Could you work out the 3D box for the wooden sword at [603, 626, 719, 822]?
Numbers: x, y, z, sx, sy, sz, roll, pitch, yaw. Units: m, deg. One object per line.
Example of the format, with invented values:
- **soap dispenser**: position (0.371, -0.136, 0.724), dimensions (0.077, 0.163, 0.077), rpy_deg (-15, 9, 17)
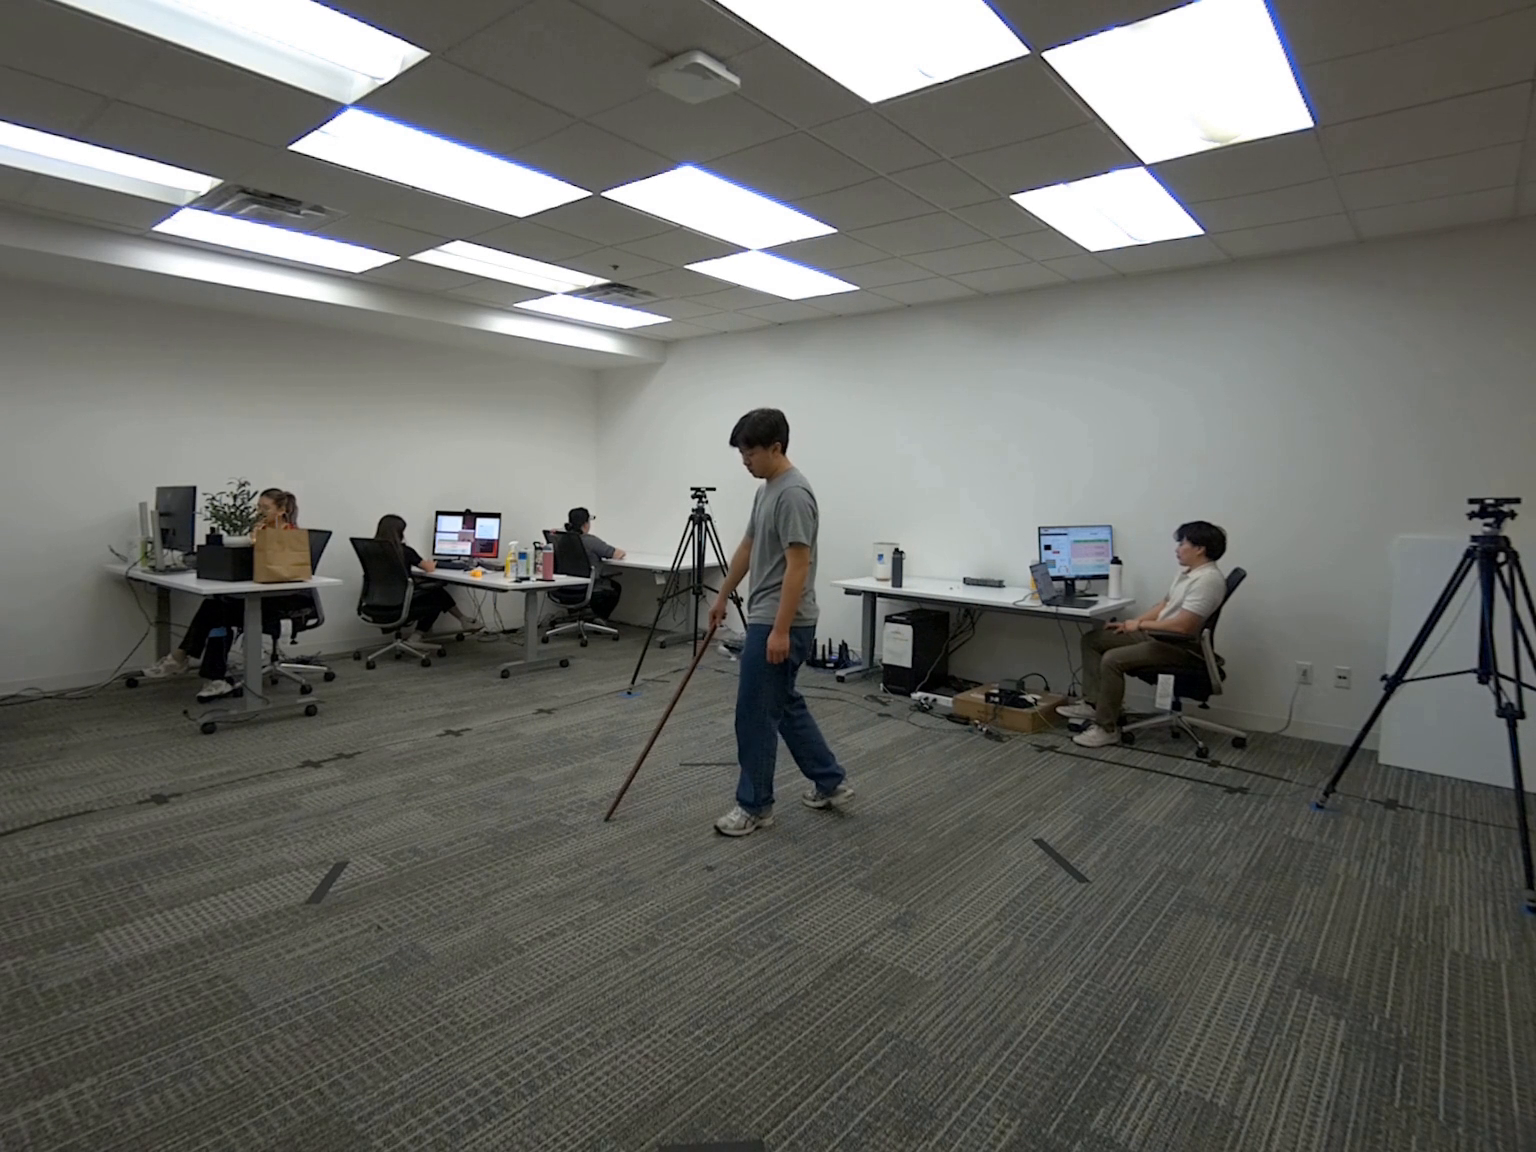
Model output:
- **wooden sword**: position (-0.454, 0.600, 3.681), dimensions (0.024, 1.030, 0.051), rpy_deg (28, -16, 0)
